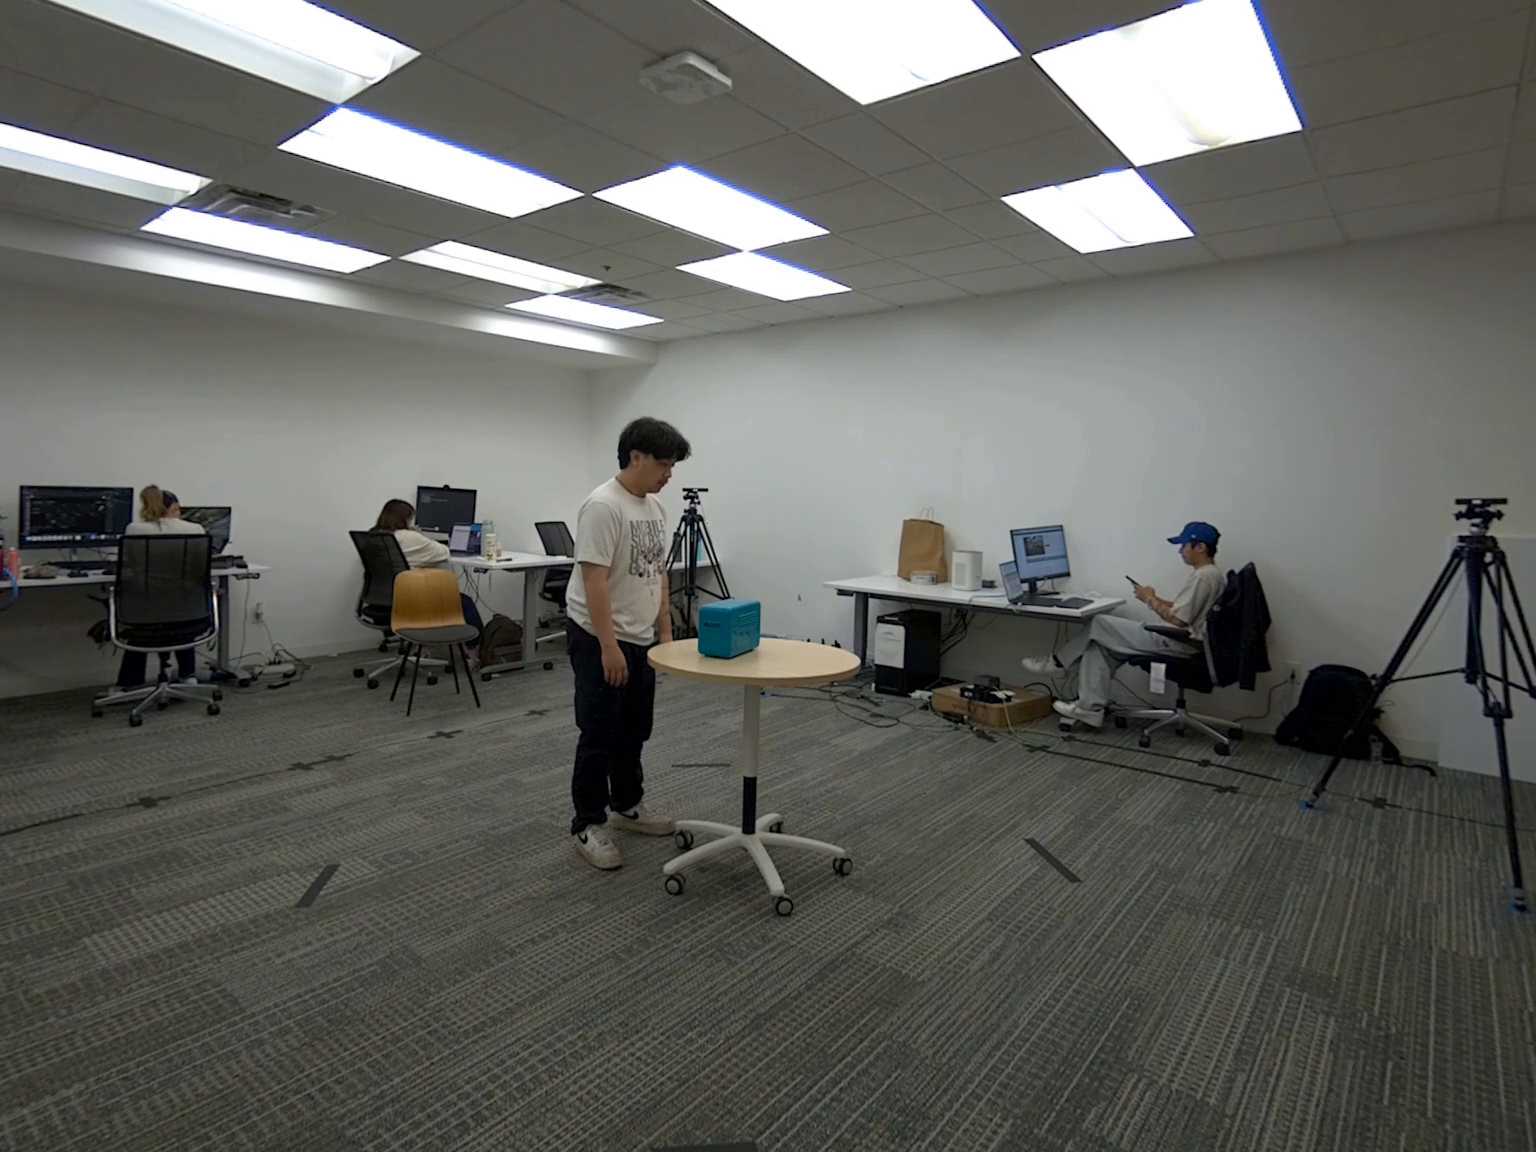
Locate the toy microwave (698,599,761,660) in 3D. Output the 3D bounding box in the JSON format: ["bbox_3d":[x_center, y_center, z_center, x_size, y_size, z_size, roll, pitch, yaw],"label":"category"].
[{"bbox_3d":[-0.153,0.185,3.108,0.156,0.183,0.280,2,5,24],"label":"toy microwave"}]
